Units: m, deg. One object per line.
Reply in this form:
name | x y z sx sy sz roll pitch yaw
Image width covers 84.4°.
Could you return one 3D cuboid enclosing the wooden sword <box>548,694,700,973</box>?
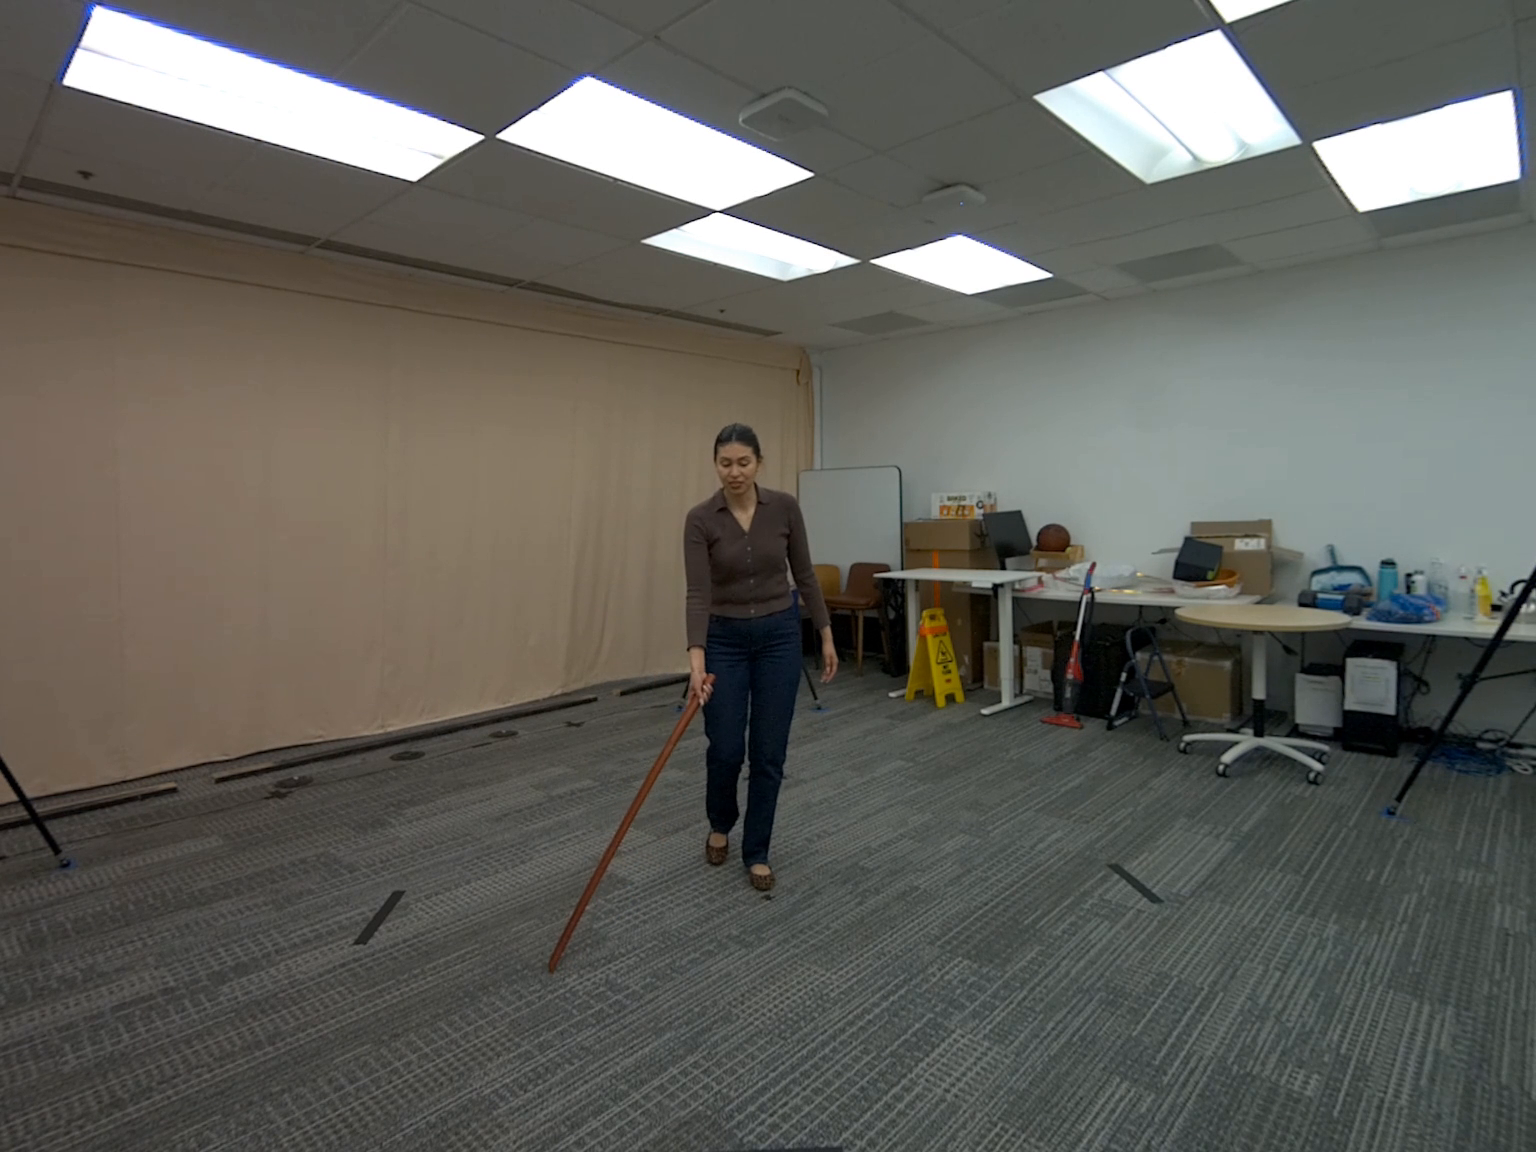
wooden sword | -0.437 0.775 2.702 0.053 1.025 0.023 5 -31 47
